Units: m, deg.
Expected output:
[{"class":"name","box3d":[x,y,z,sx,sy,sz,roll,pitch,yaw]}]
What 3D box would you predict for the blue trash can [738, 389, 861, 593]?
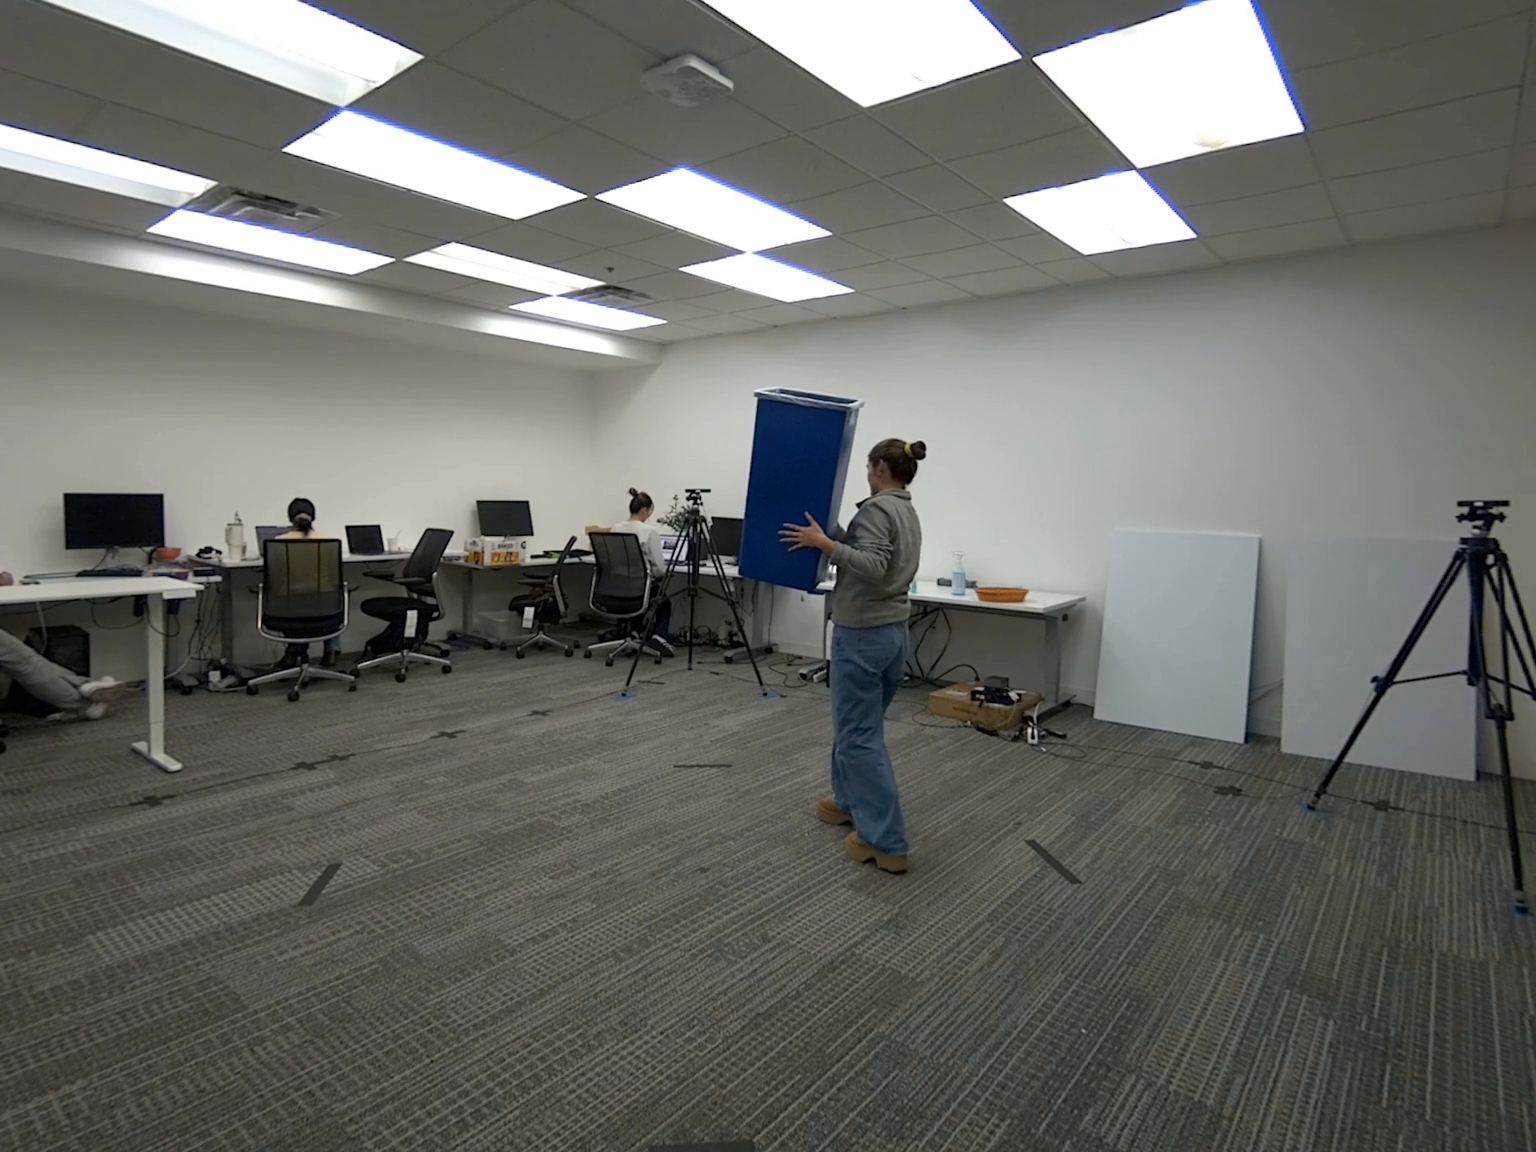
[{"class":"blue trash can","box3d":[0.097,-0.357,3.290,0.381,0.705,0.375,13,15,14]}]
